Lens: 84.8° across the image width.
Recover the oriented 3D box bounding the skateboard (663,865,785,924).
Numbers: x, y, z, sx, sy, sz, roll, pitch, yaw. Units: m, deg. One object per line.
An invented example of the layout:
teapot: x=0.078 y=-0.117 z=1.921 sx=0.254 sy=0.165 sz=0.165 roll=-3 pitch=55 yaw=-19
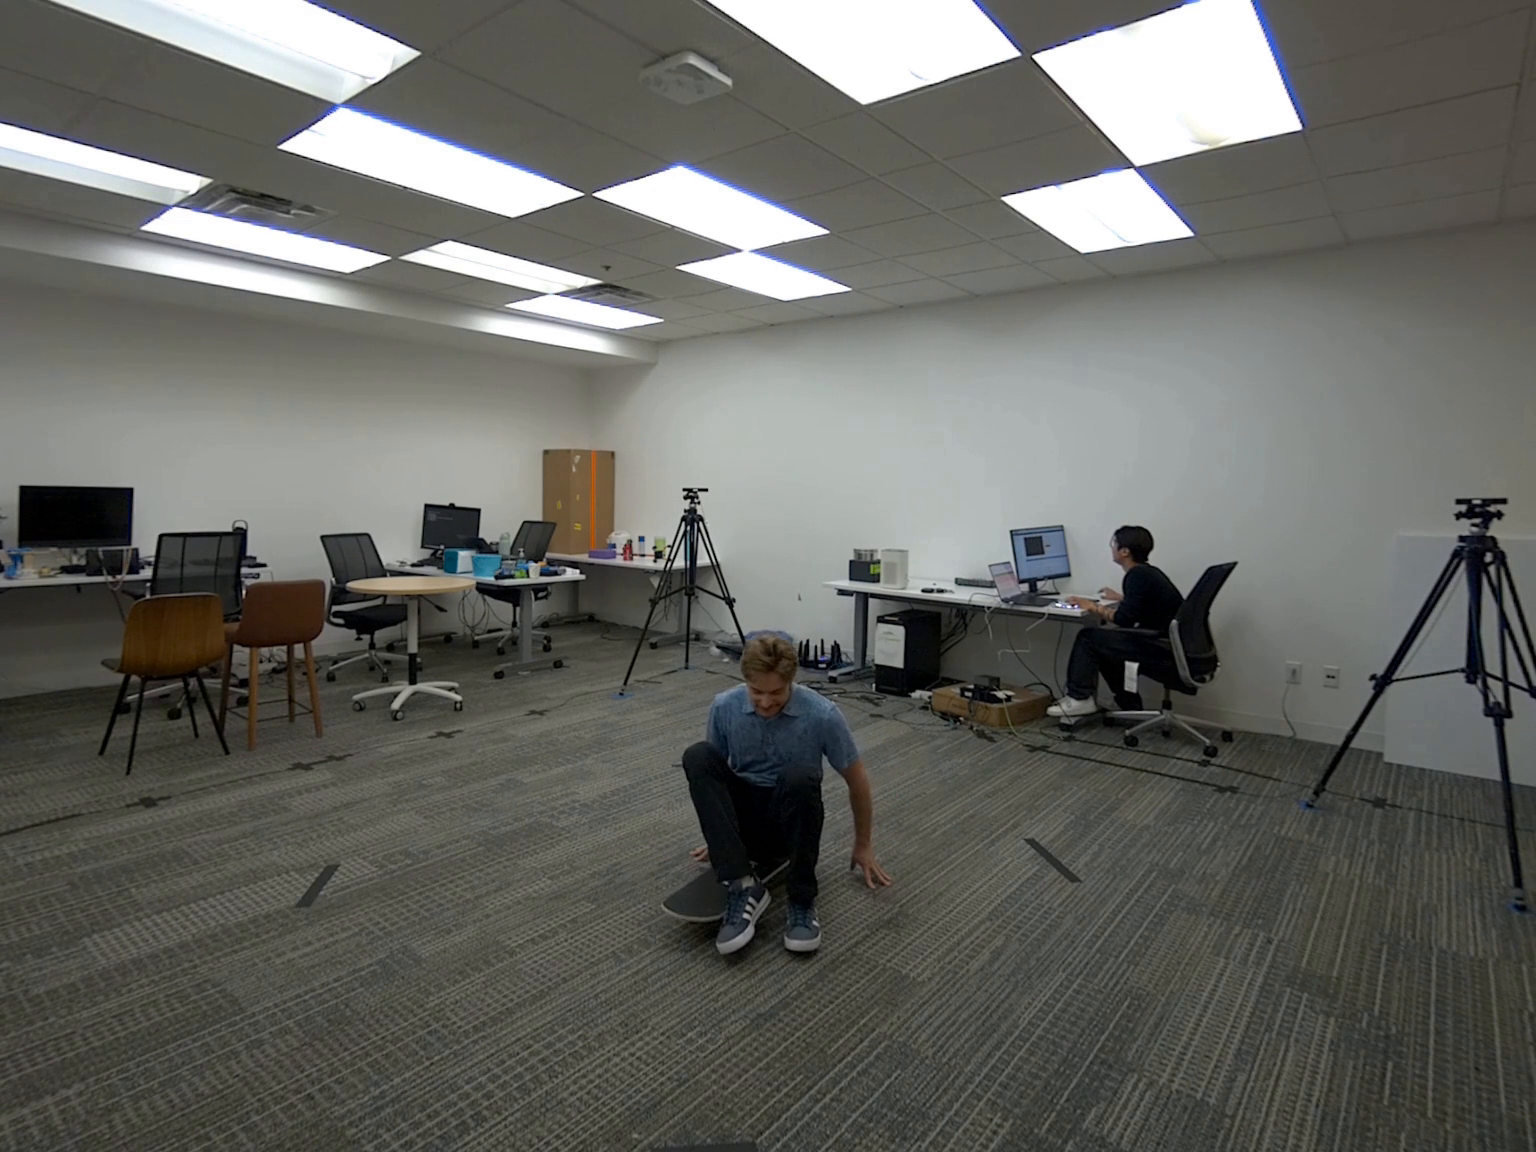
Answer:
skateboard: x=-0.099 y=1.045 z=2.886 sx=0.199 sy=0.110 sz=0.766 roll=5 pitch=6 yaw=28
